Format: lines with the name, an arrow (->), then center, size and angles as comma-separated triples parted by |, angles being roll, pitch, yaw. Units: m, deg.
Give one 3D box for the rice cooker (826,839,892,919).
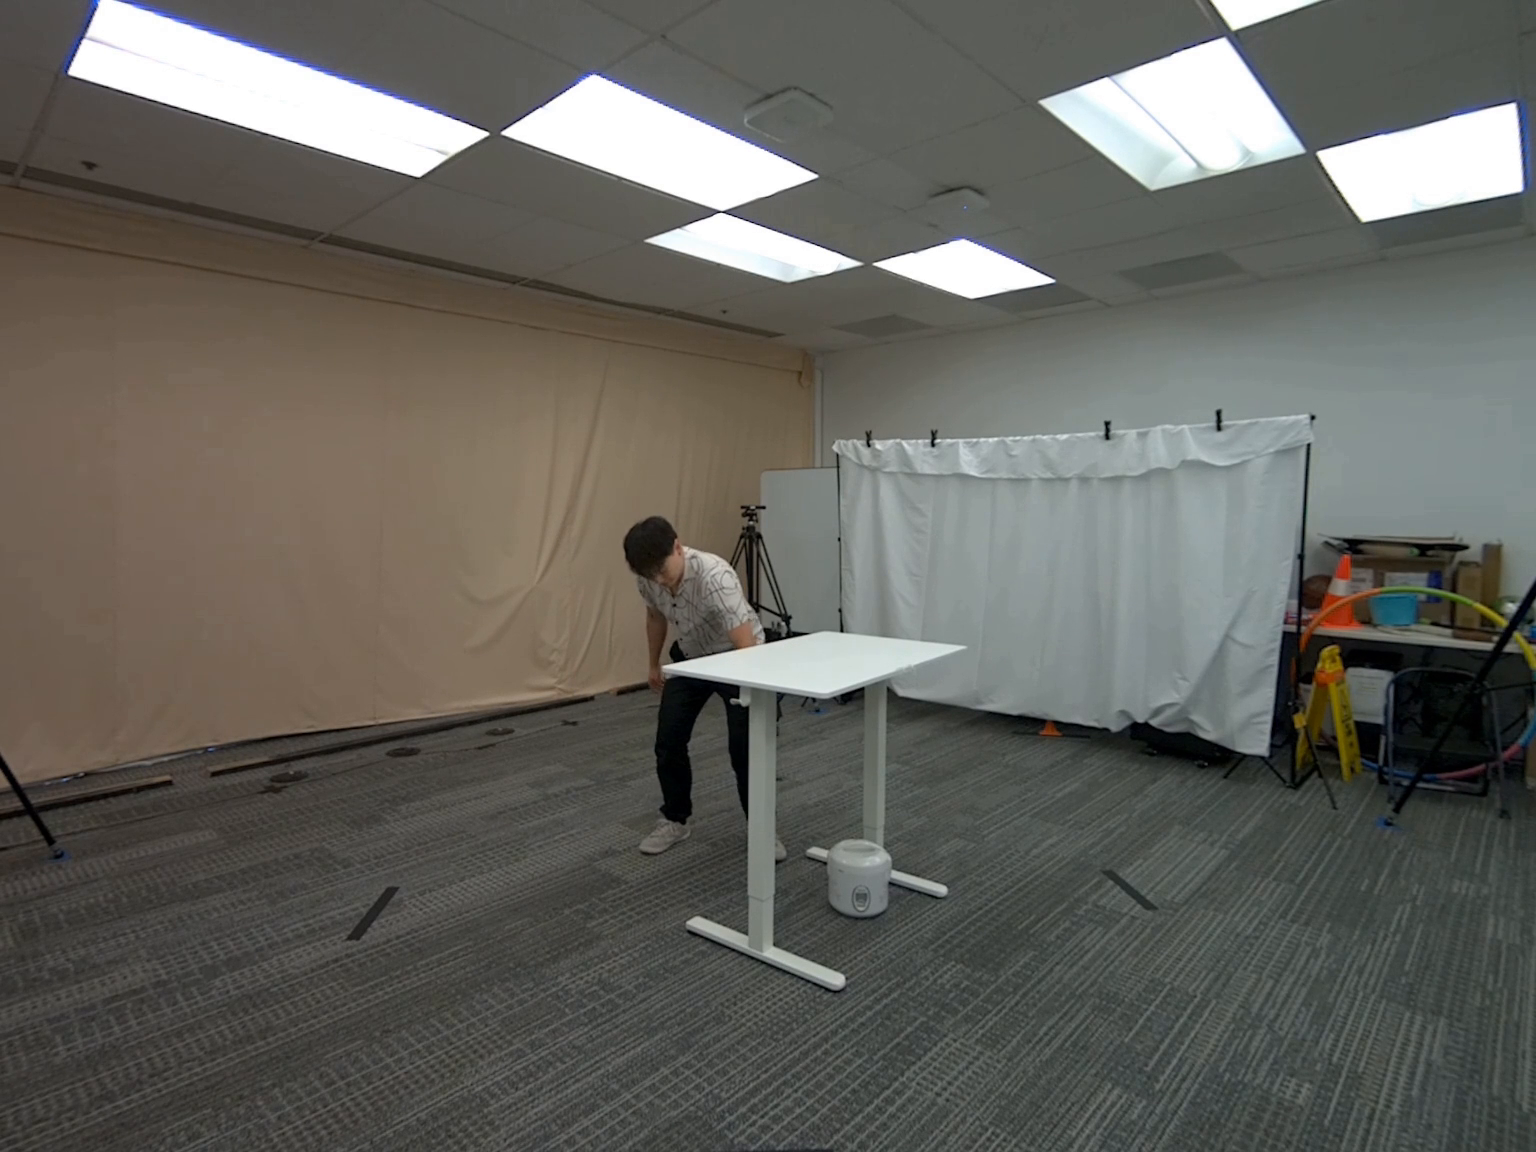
rice cooker -> 0.318, 1.031, 2.909 | 0.221, 0.232, 0.217 | 0, 3, 3
